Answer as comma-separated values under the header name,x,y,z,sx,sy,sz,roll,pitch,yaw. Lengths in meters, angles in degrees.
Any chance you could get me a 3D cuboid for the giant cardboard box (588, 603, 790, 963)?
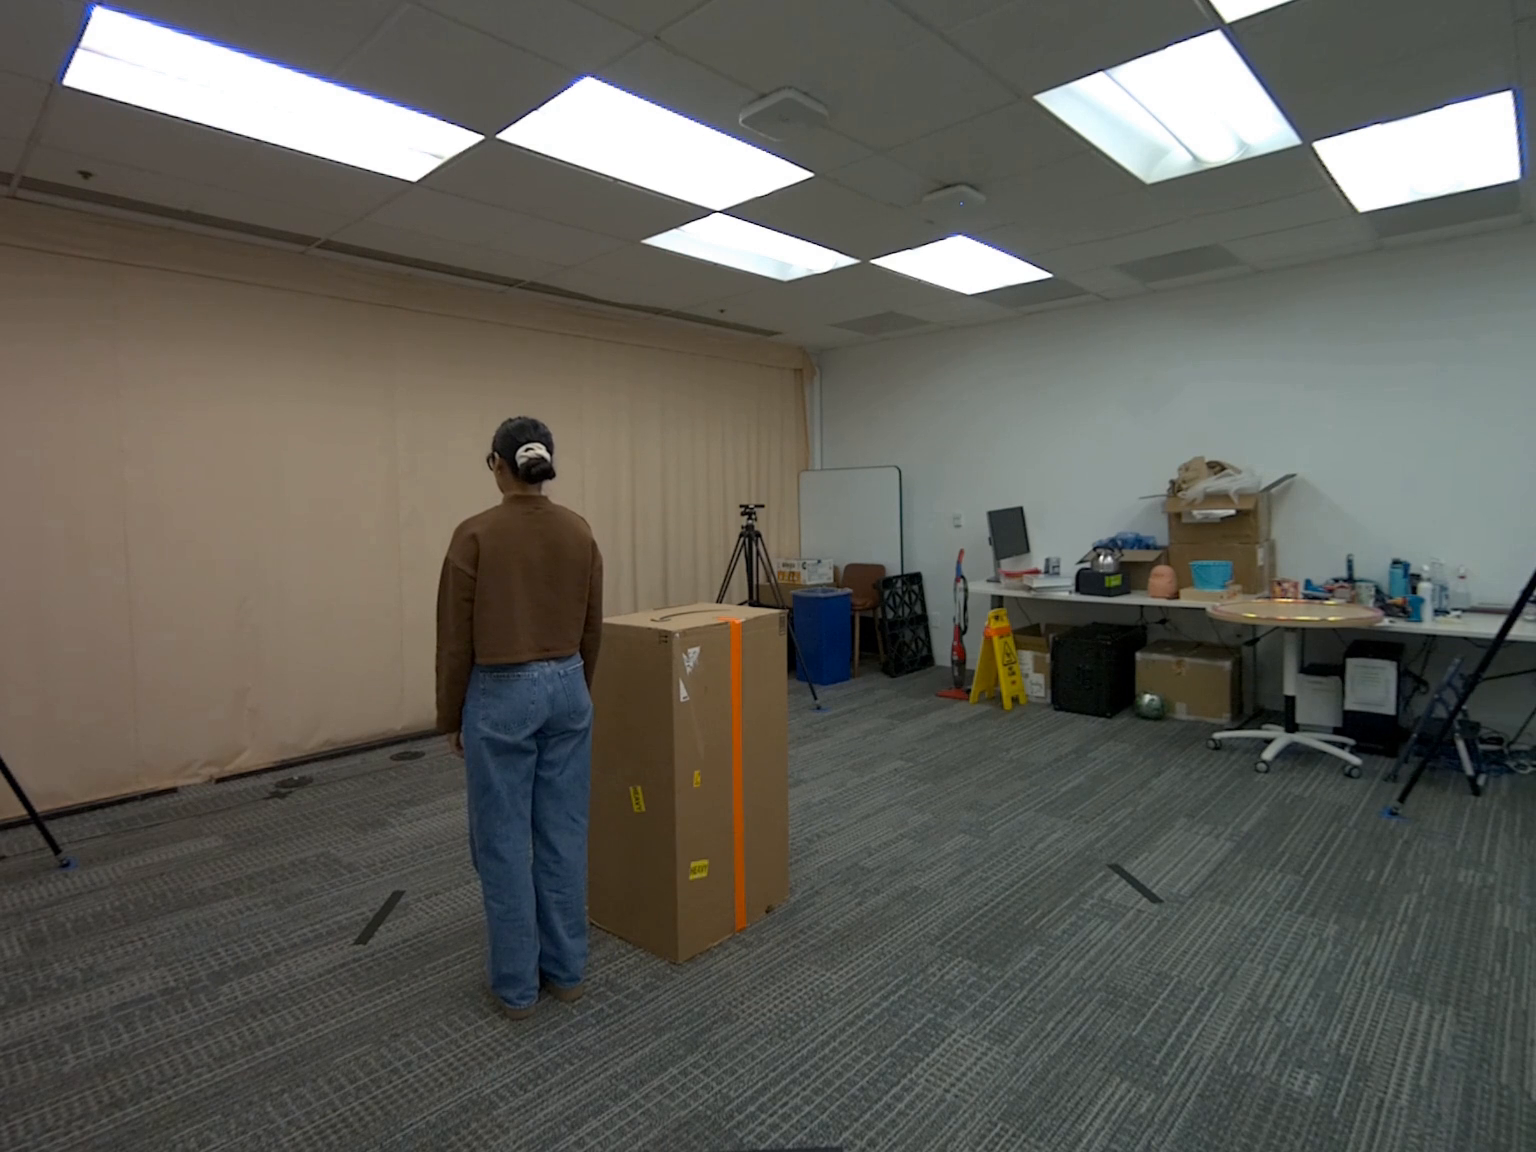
name,x,y,z,sx,sy,sz,roll,pitch,yaw
giant cardboard box,-0.260,0.644,2.878,0.440,1.023,0.560,2,4,40
